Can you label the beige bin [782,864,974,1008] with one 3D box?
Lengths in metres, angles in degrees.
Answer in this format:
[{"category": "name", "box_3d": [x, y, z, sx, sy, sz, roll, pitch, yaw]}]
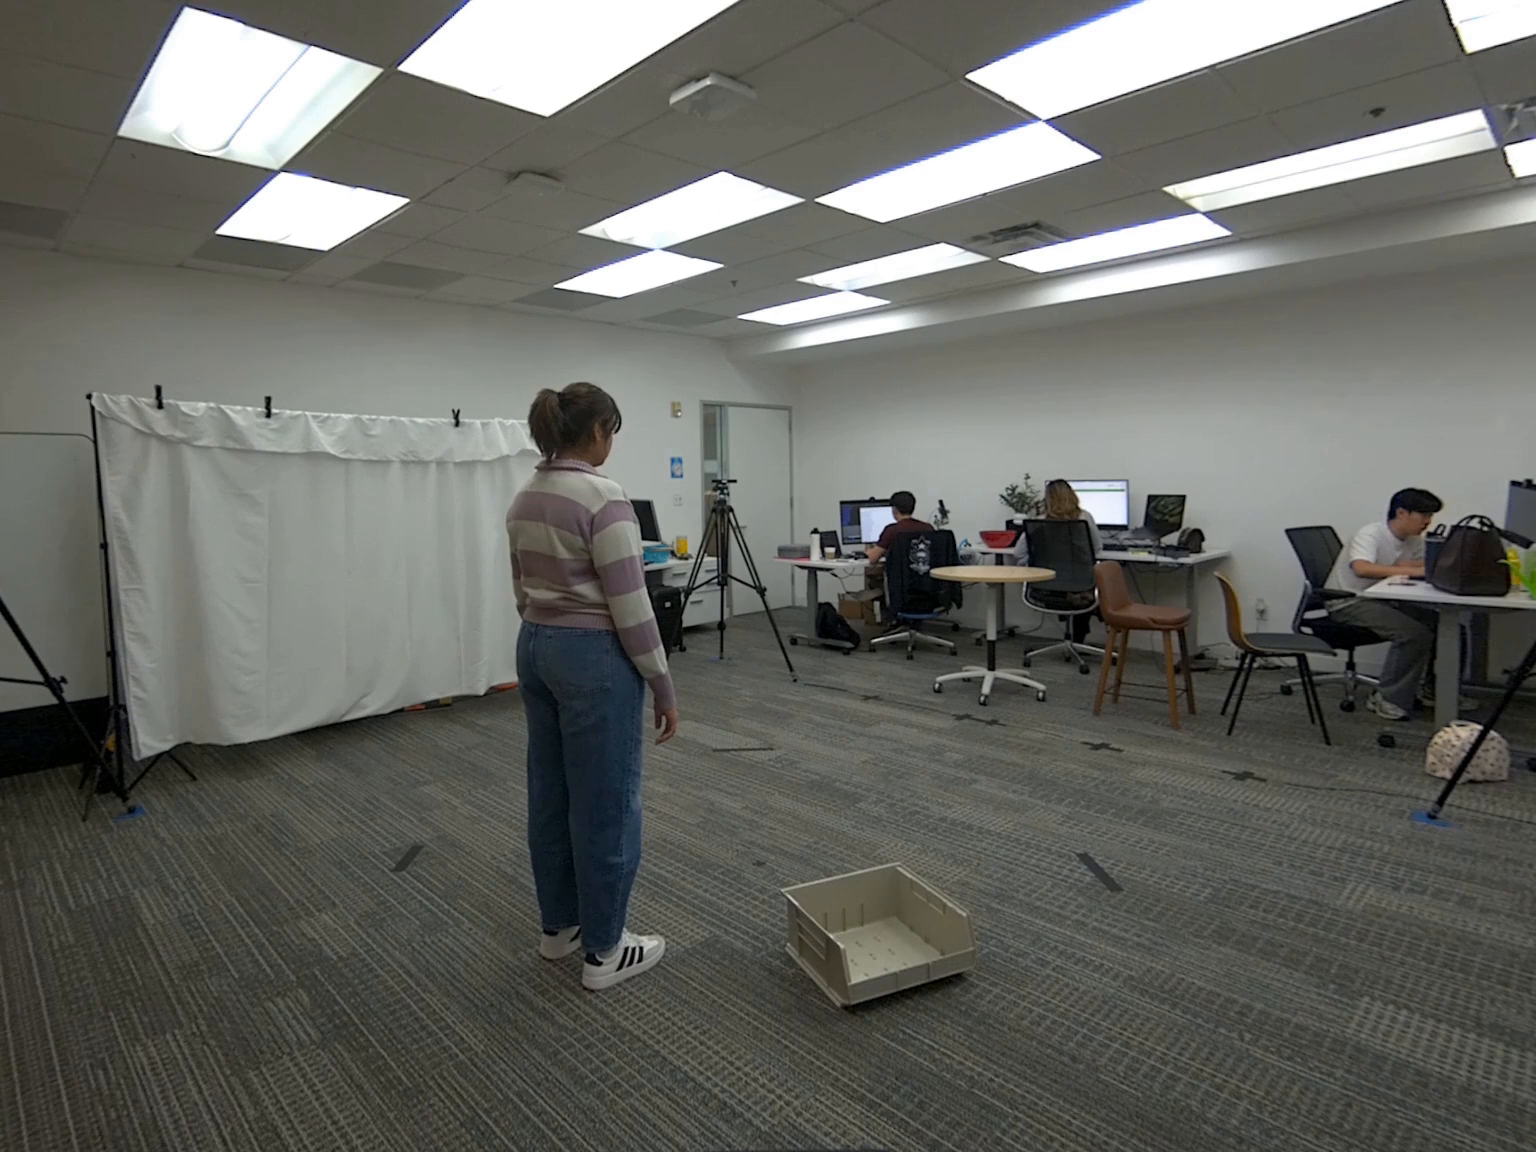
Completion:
[{"category": "beige bin", "box_3d": [0.316, 1.026, 2.453, 0.414, 0.188, 0.386, -4, 5, -25]}]
